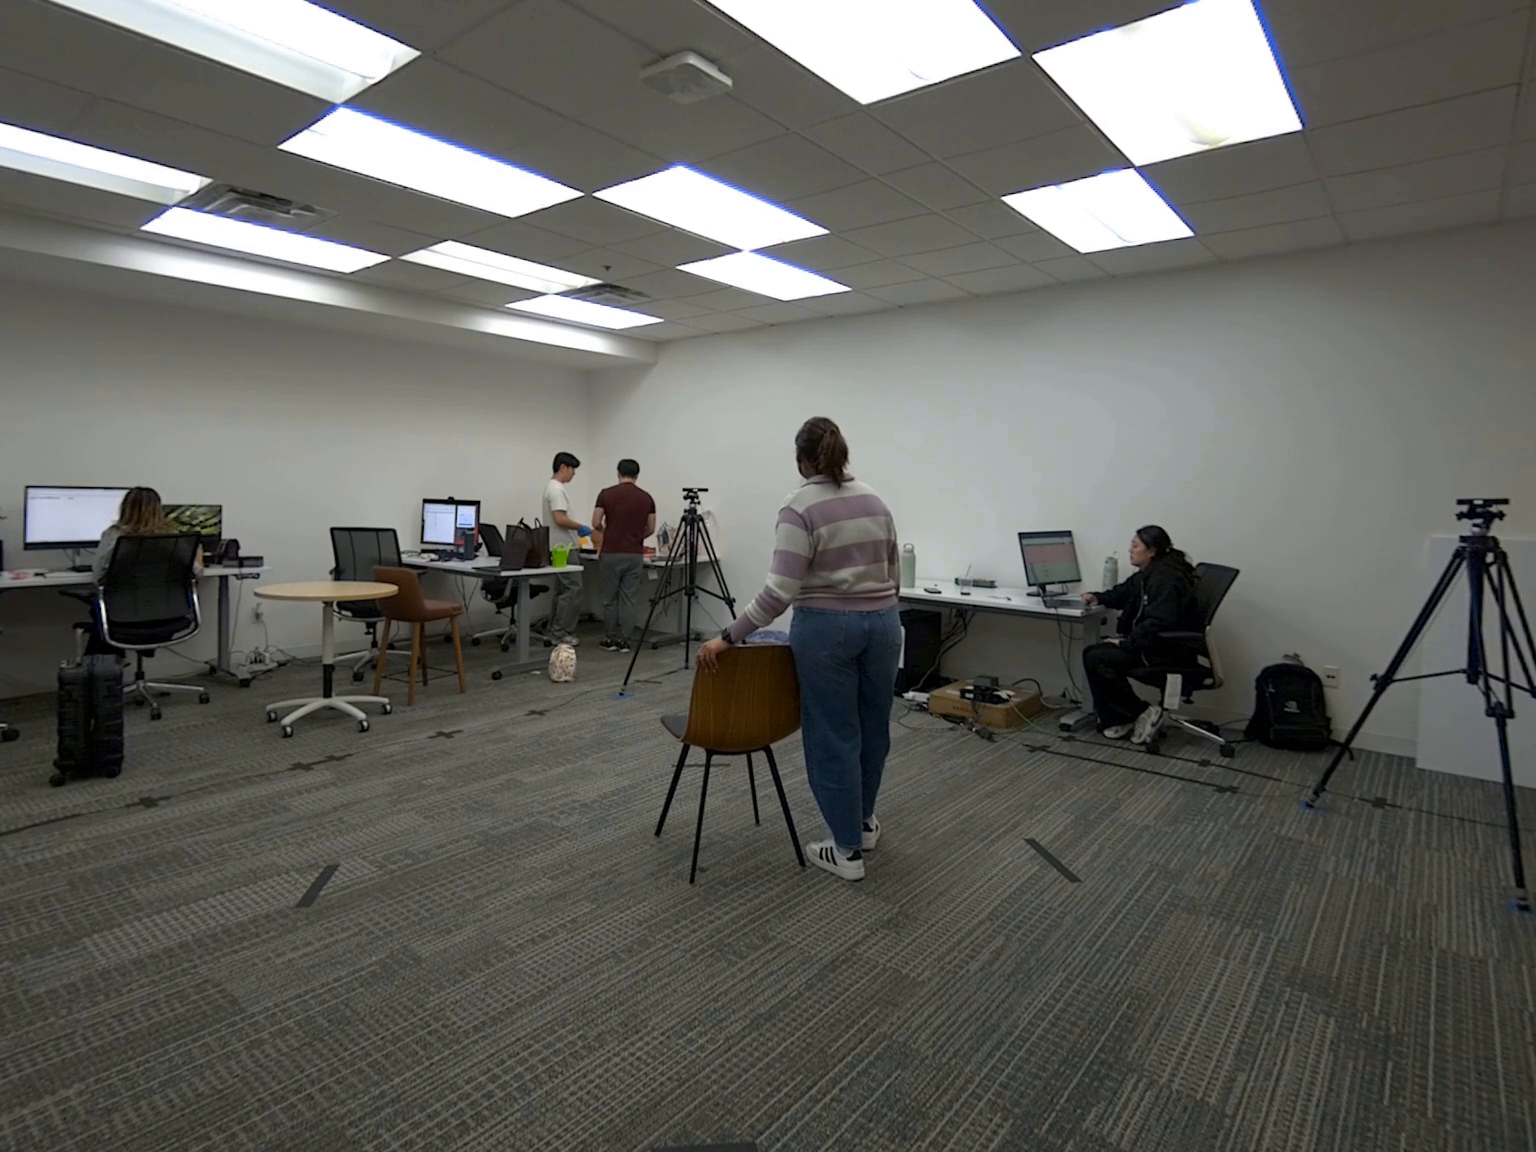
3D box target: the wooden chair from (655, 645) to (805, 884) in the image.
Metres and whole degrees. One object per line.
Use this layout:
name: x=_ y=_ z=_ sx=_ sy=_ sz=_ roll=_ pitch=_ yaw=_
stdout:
wooden chair: x=-0.169 y=0.628 z=3.254 sx=0.468 sy=0.872 sz=0.538 roll=-1 pitch=7 yaw=-22
